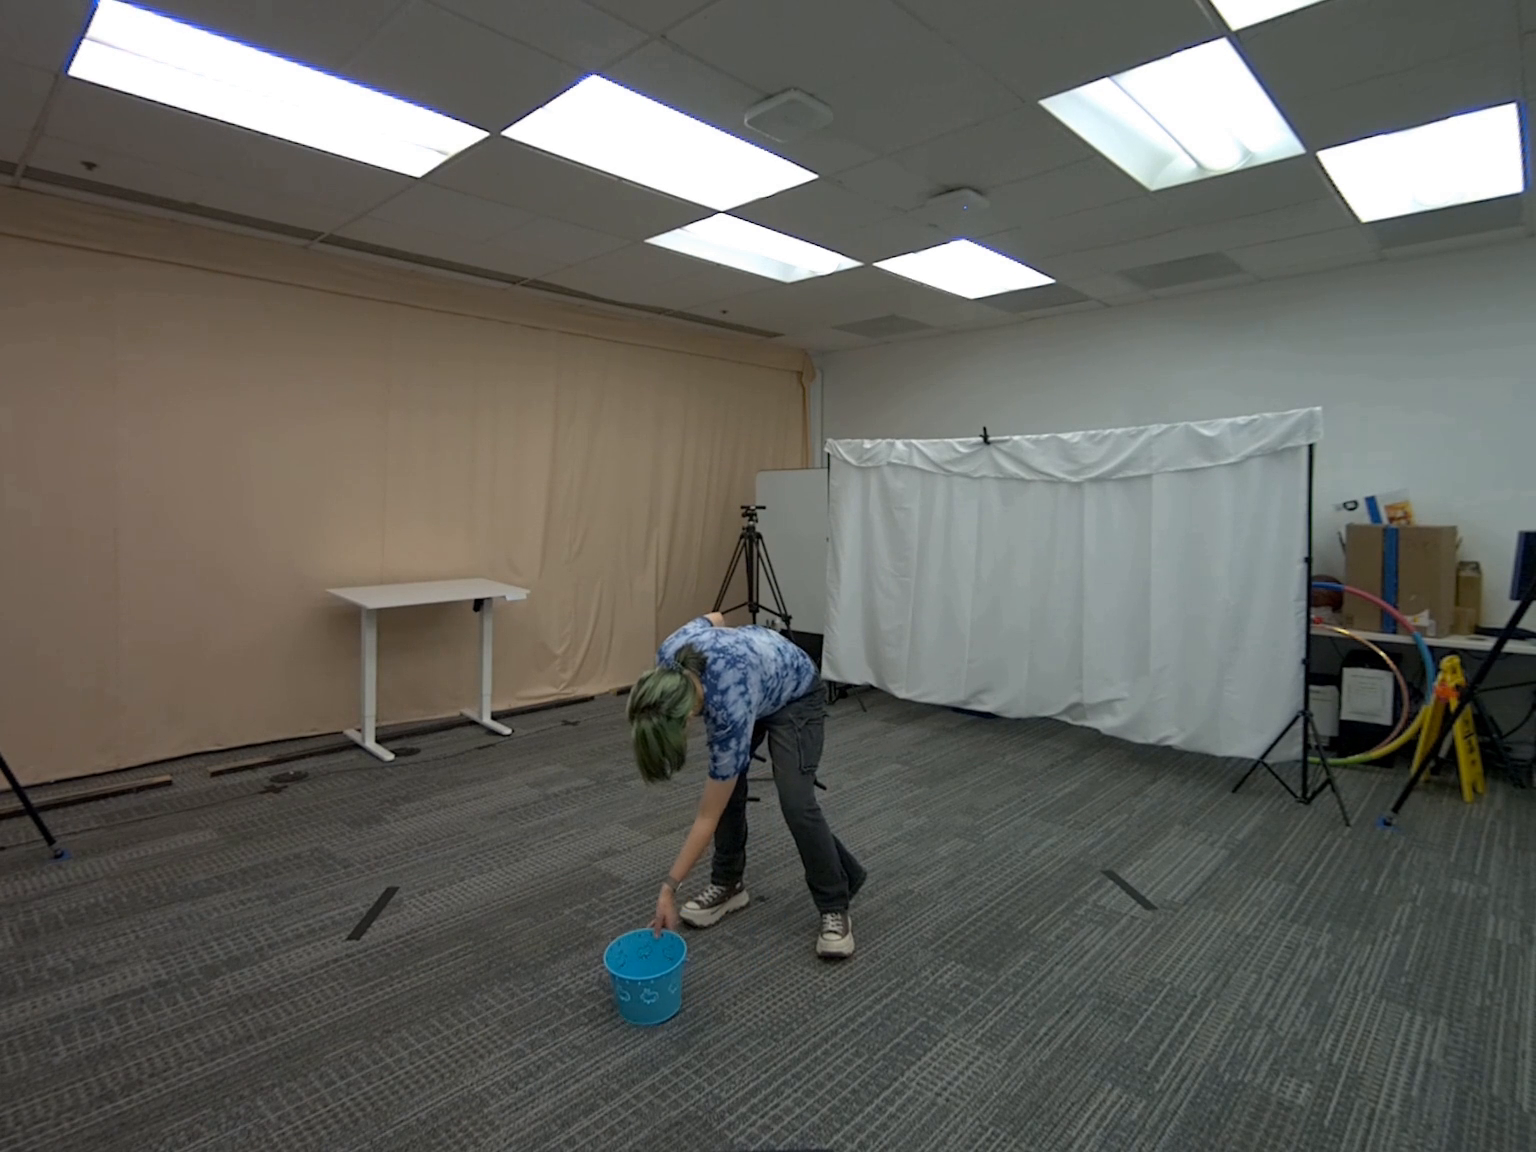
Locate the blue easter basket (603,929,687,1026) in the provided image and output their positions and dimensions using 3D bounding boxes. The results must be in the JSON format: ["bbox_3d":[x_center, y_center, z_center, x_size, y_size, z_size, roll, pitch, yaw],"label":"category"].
[{"bbox_3d":[-0.320,1.115,2.342,0.243,0.155,0.245,-4,8,-1],"label":"blue easter basket"}]
